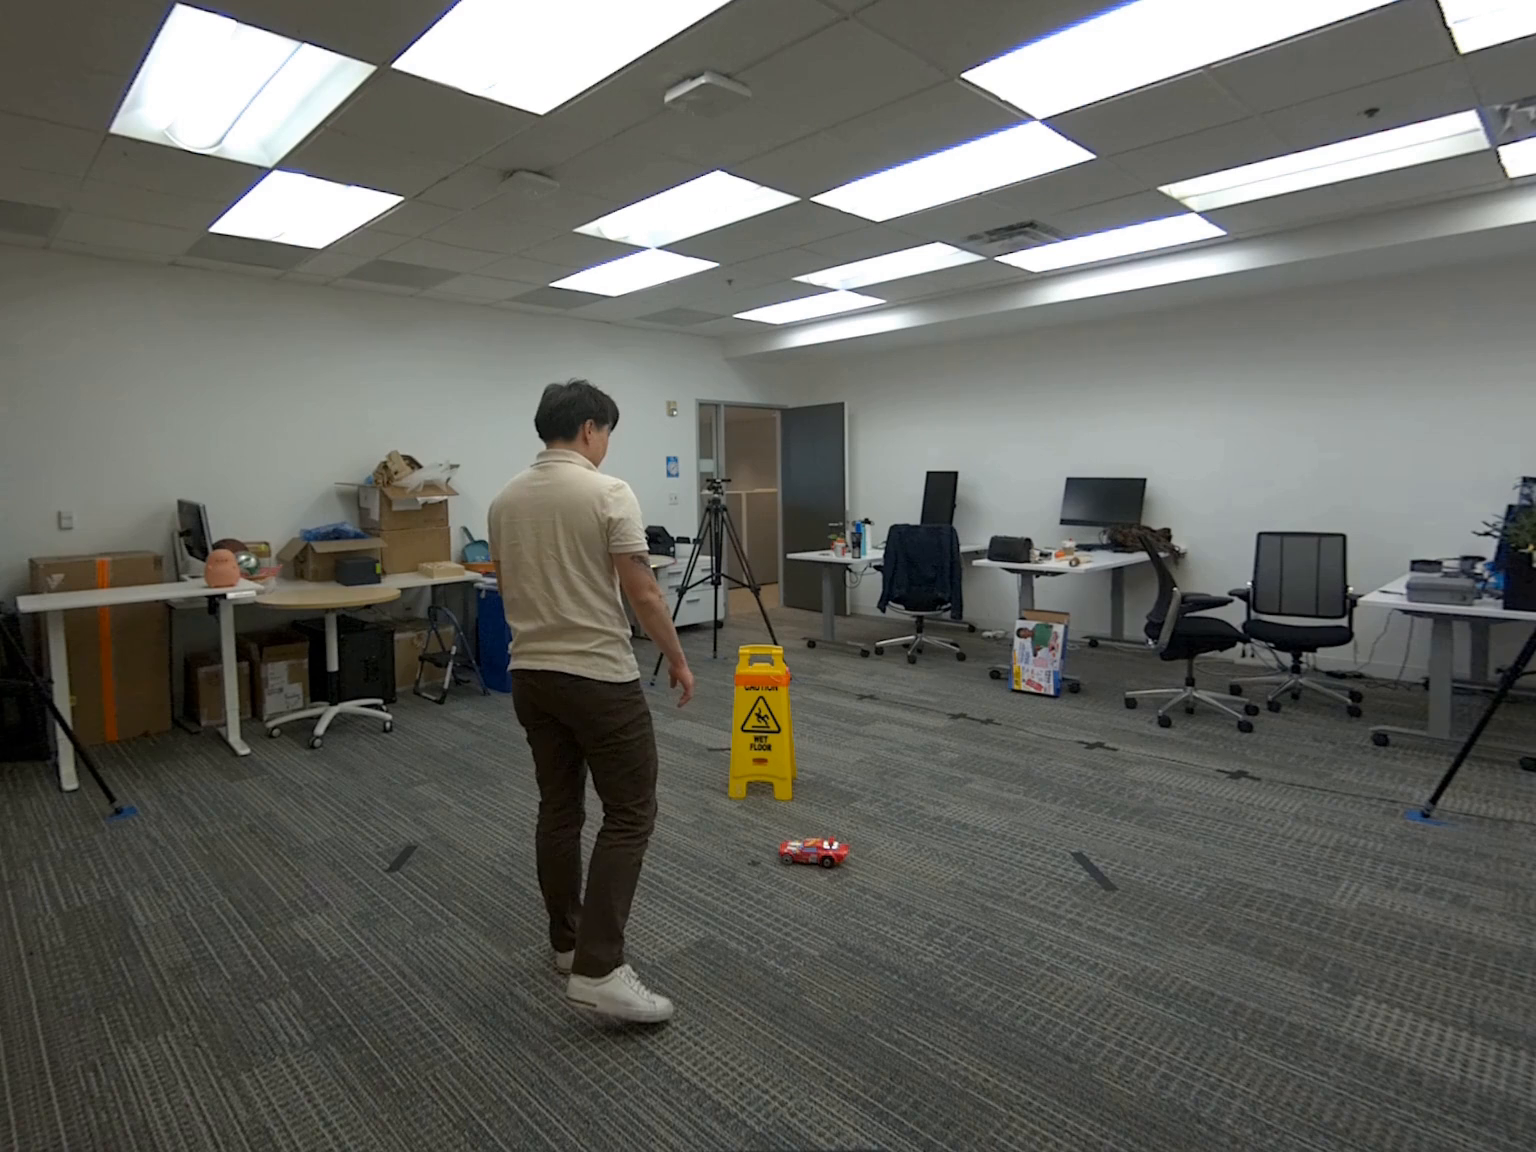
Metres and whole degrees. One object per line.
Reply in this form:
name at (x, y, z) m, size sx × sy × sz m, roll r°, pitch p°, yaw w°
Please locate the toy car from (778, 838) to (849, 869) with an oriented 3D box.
toy car at (0.178, 1.009, 3.109) m, size 0.257 × 0.083 × 0.129 m, roll -11°, pitch 3°, yaw 13°
